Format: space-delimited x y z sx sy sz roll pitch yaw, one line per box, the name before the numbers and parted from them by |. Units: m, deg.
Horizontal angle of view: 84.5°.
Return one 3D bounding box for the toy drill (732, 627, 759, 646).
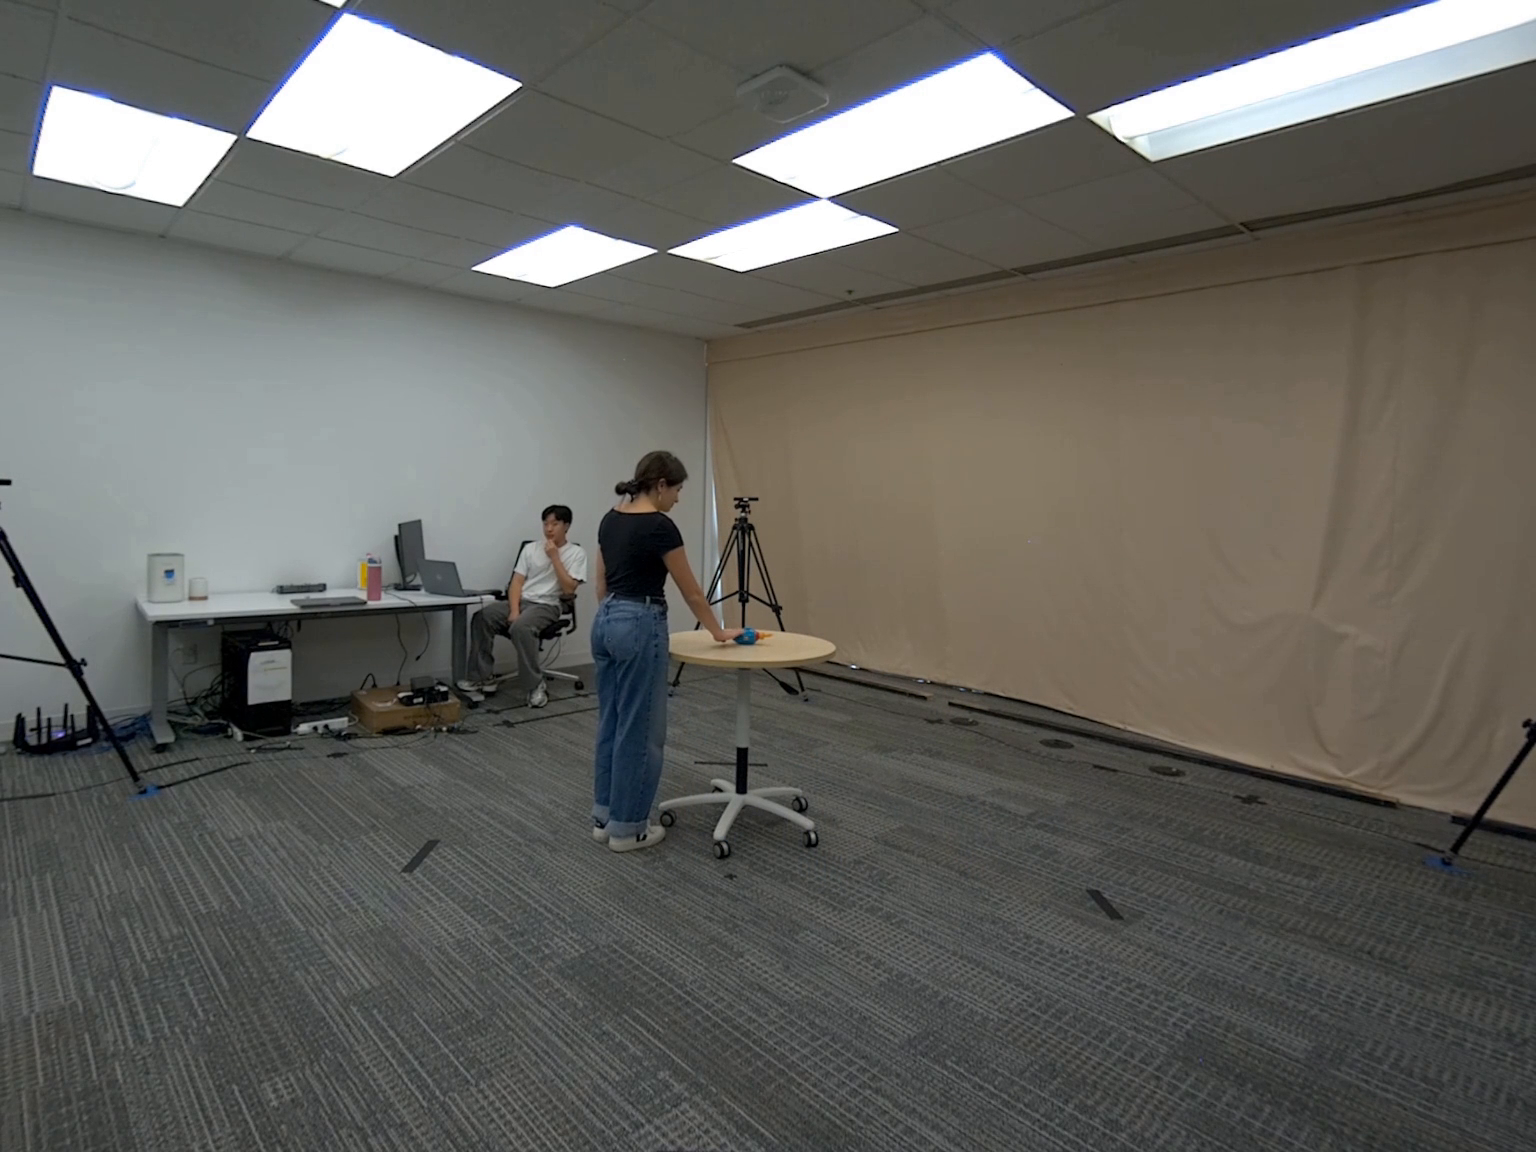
toy drill | -0.073 0.254 3.582 0.171 0.061 0.145 -7 3 7
